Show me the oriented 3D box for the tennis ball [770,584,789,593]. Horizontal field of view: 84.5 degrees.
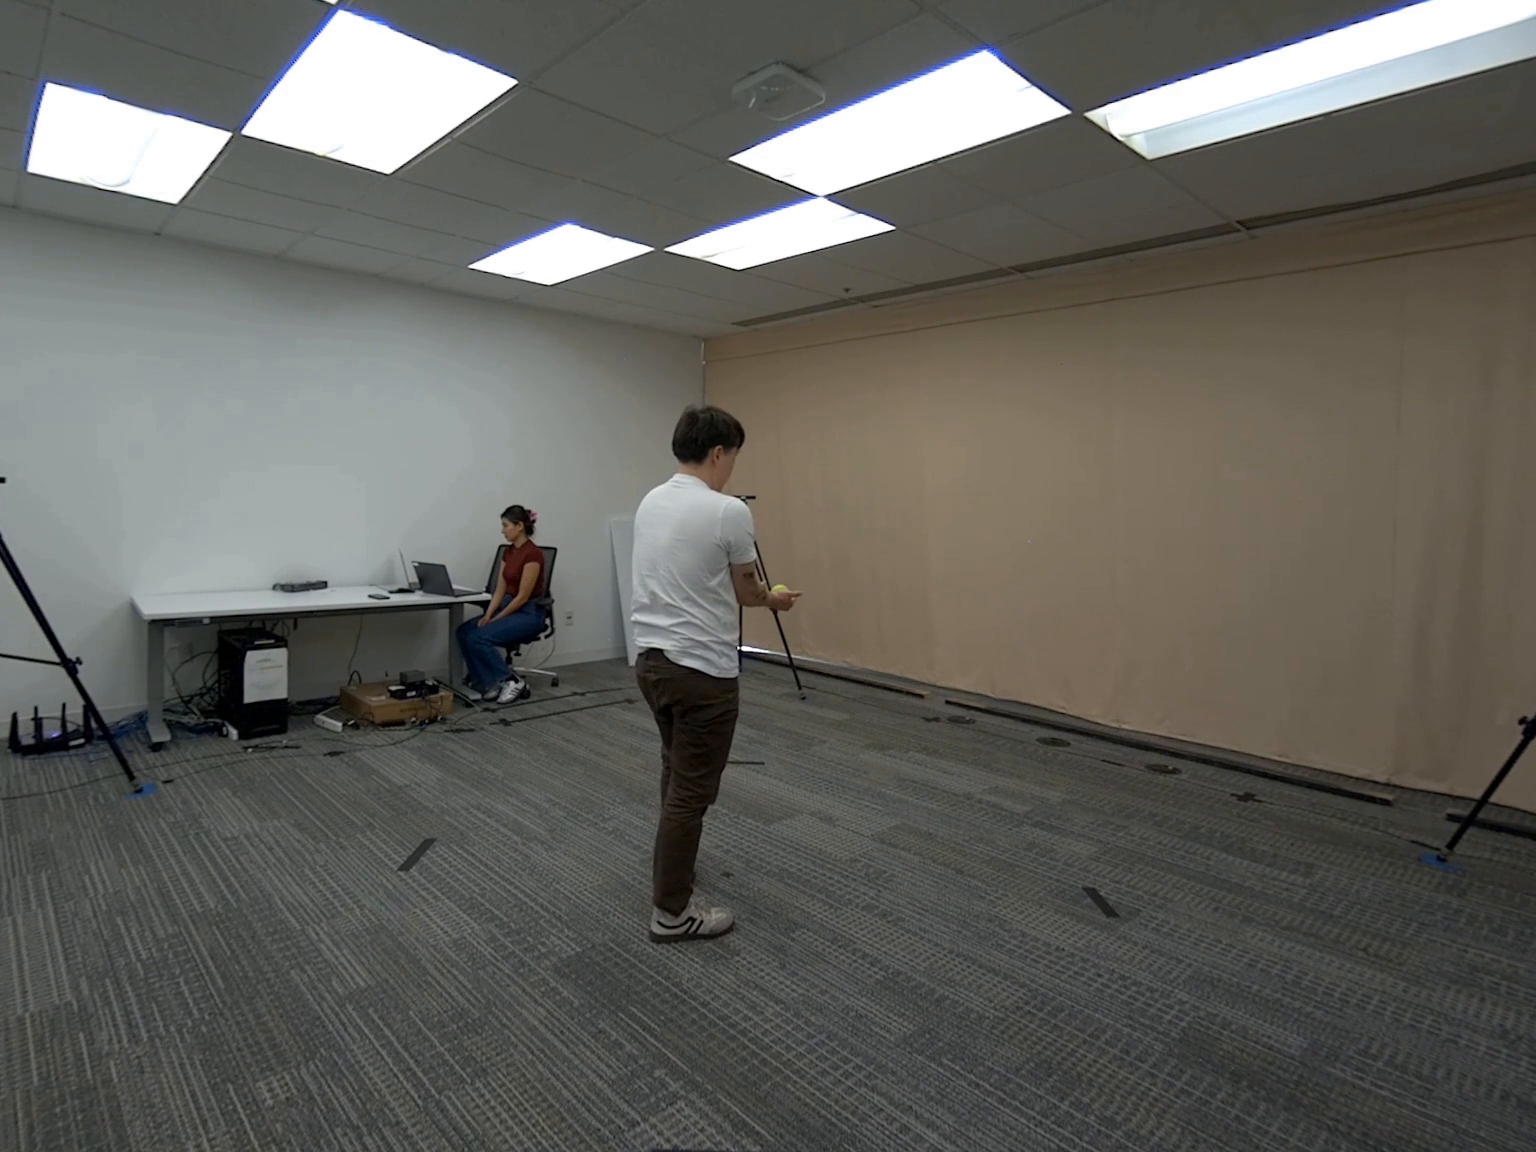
[{"bbox_3d":[0.027,0.057,2.967,0.066,0.066,0.067,1,4,-1],"label":"tennis ball"}]
